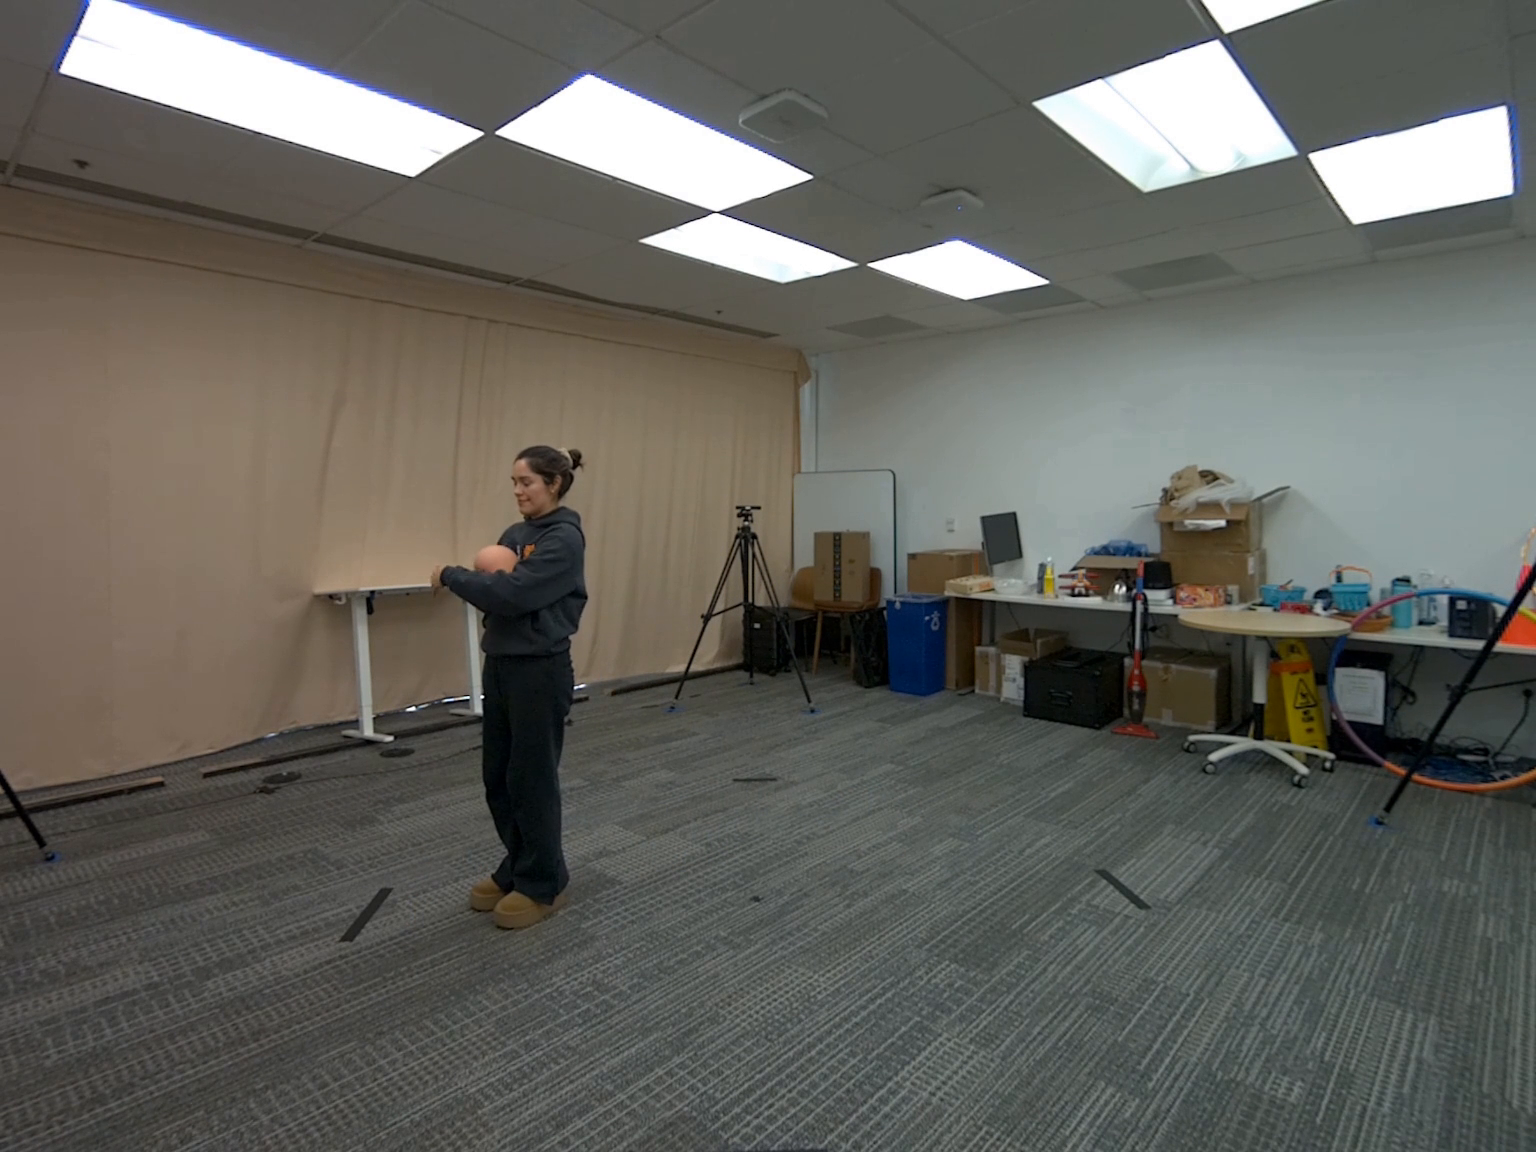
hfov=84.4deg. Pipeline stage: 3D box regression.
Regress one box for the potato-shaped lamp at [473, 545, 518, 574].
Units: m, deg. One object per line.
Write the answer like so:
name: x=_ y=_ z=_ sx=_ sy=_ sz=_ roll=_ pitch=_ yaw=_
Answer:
potato-shaped lamp: x=-0.890 y=0.003 z=2.826 sx=0.170 sy=0.195 sz=0.169 roll=-4 pitch=25 yaw=46
